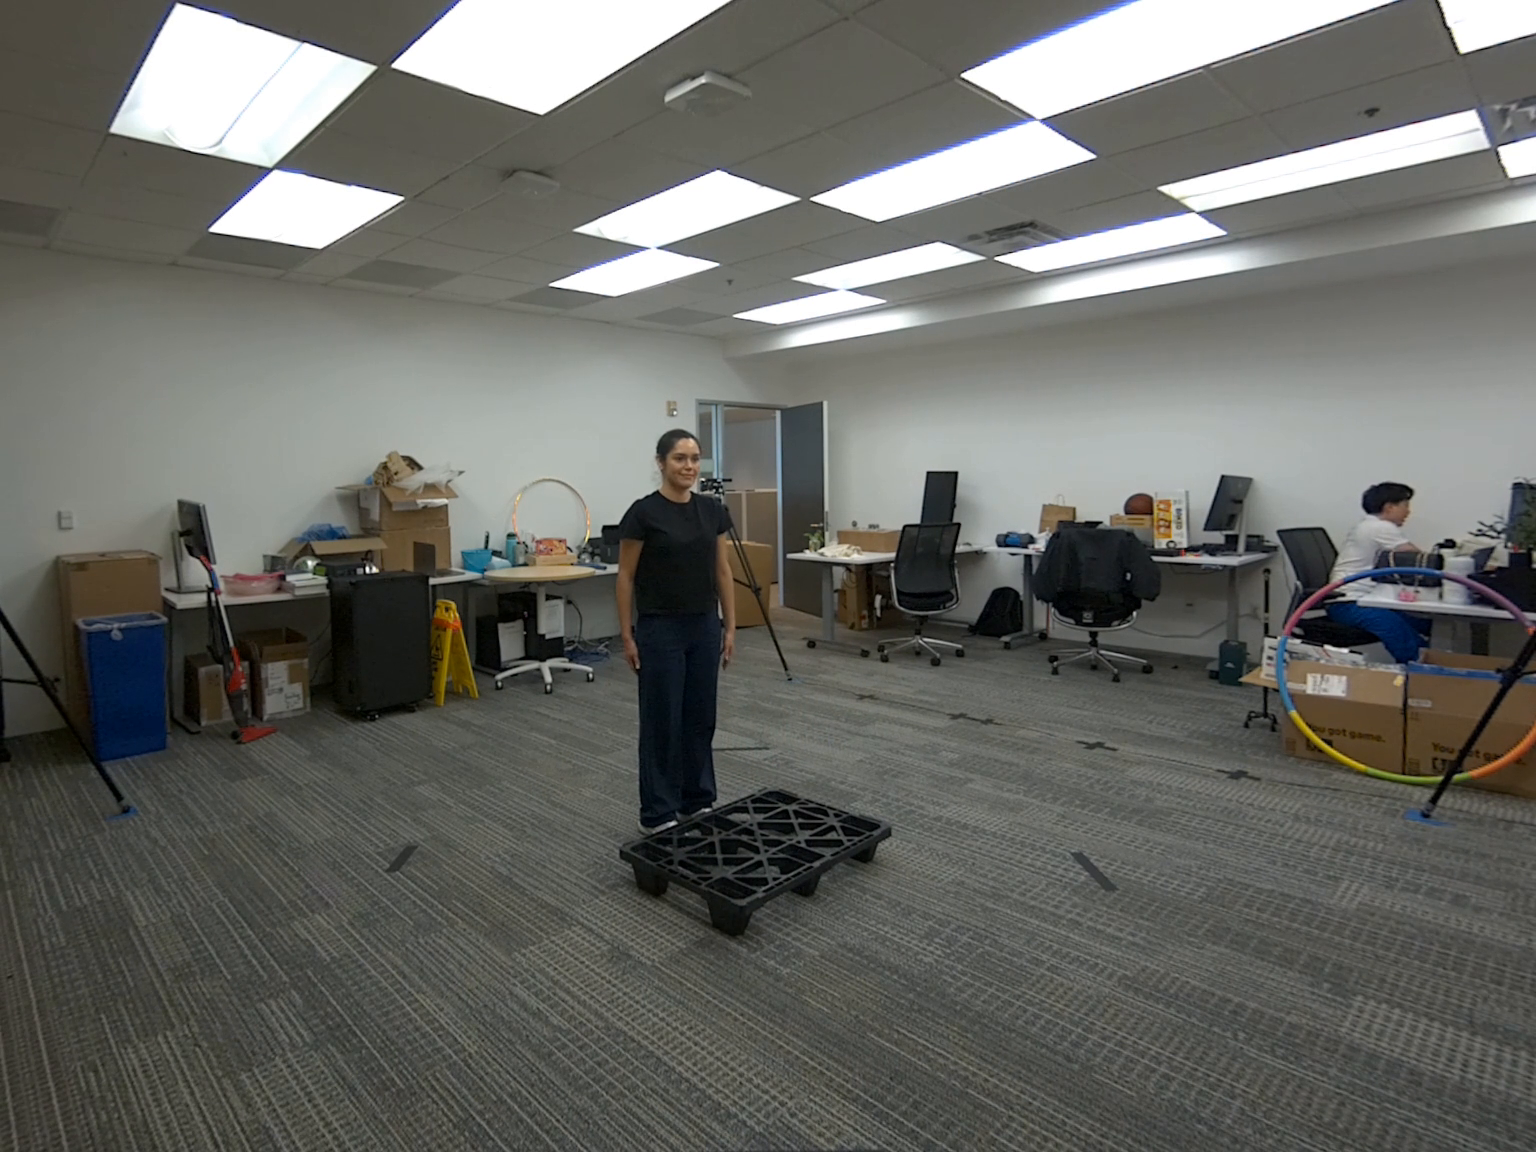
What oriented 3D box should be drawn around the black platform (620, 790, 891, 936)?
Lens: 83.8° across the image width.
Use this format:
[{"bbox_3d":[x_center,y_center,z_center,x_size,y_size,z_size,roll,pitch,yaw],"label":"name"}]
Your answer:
[{"bbox_3d":[-0.034,0.988,3.032,0.624,0.143,0.785,4,8,43],"label":"black platform"}]
